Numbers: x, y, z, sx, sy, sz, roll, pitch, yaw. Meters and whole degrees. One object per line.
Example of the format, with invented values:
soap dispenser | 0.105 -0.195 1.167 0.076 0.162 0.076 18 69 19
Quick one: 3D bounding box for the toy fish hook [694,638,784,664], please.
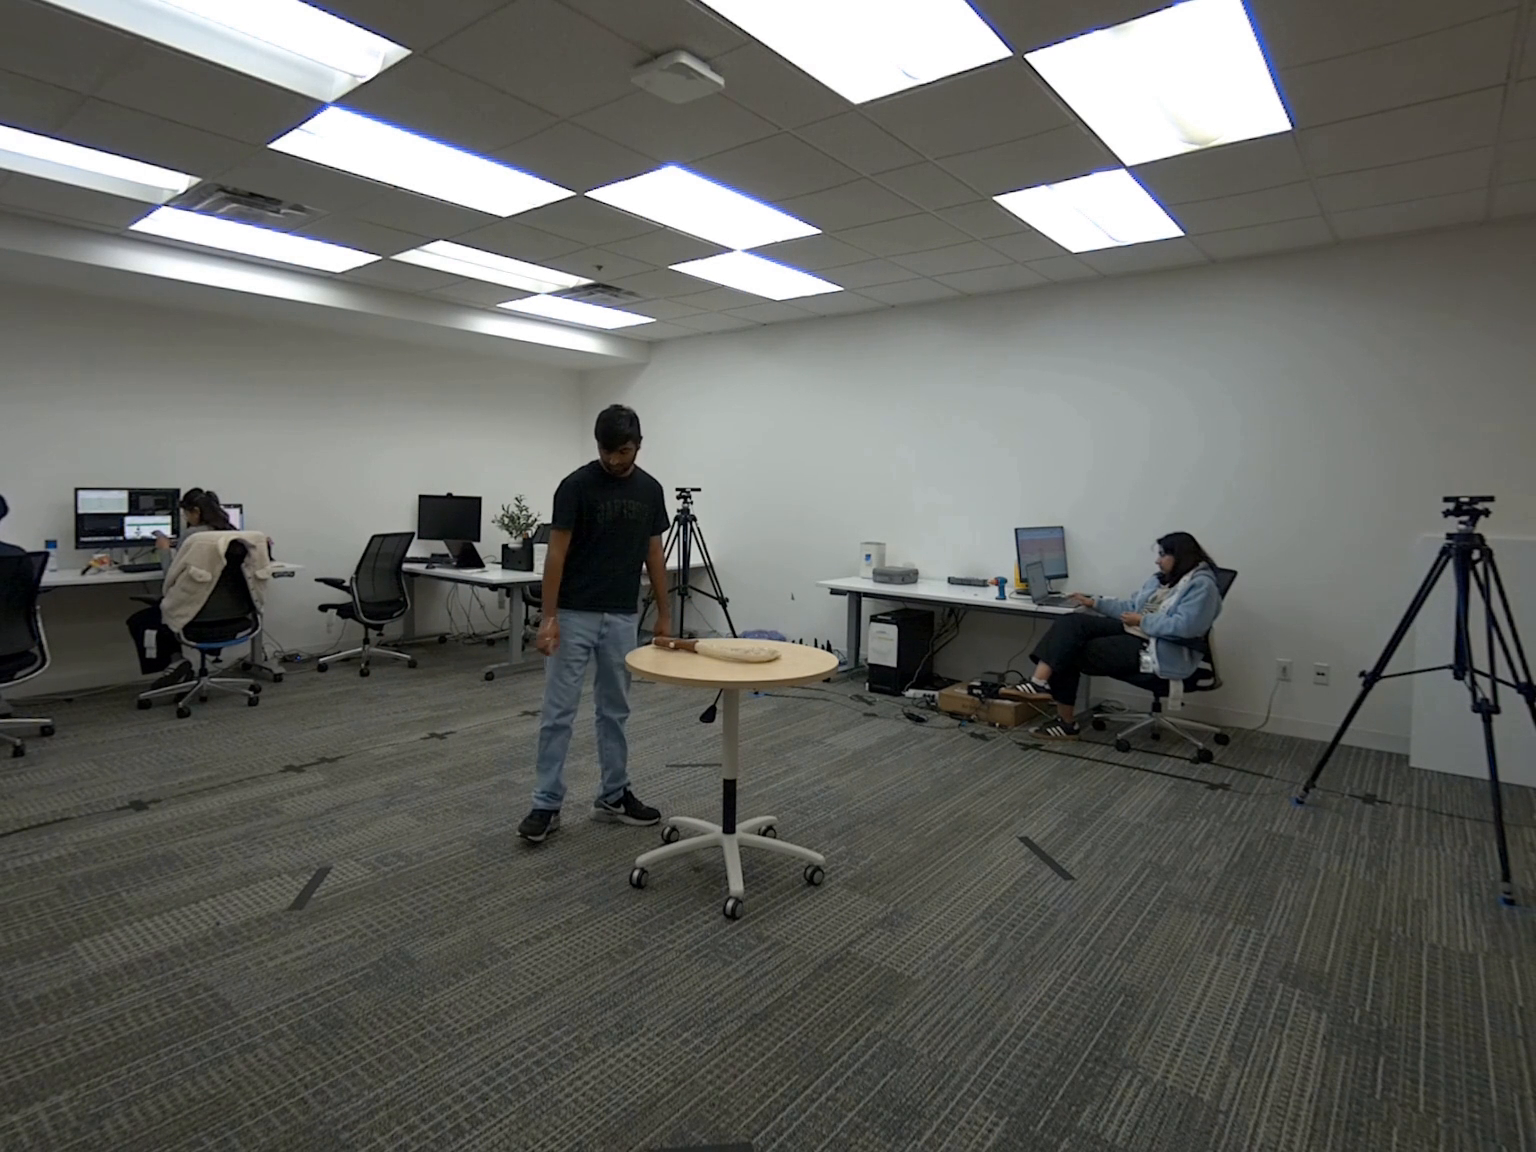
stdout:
toy fish hook | -0.206 0.271 3.145 0.522 0.048 0.218 5 1 31
